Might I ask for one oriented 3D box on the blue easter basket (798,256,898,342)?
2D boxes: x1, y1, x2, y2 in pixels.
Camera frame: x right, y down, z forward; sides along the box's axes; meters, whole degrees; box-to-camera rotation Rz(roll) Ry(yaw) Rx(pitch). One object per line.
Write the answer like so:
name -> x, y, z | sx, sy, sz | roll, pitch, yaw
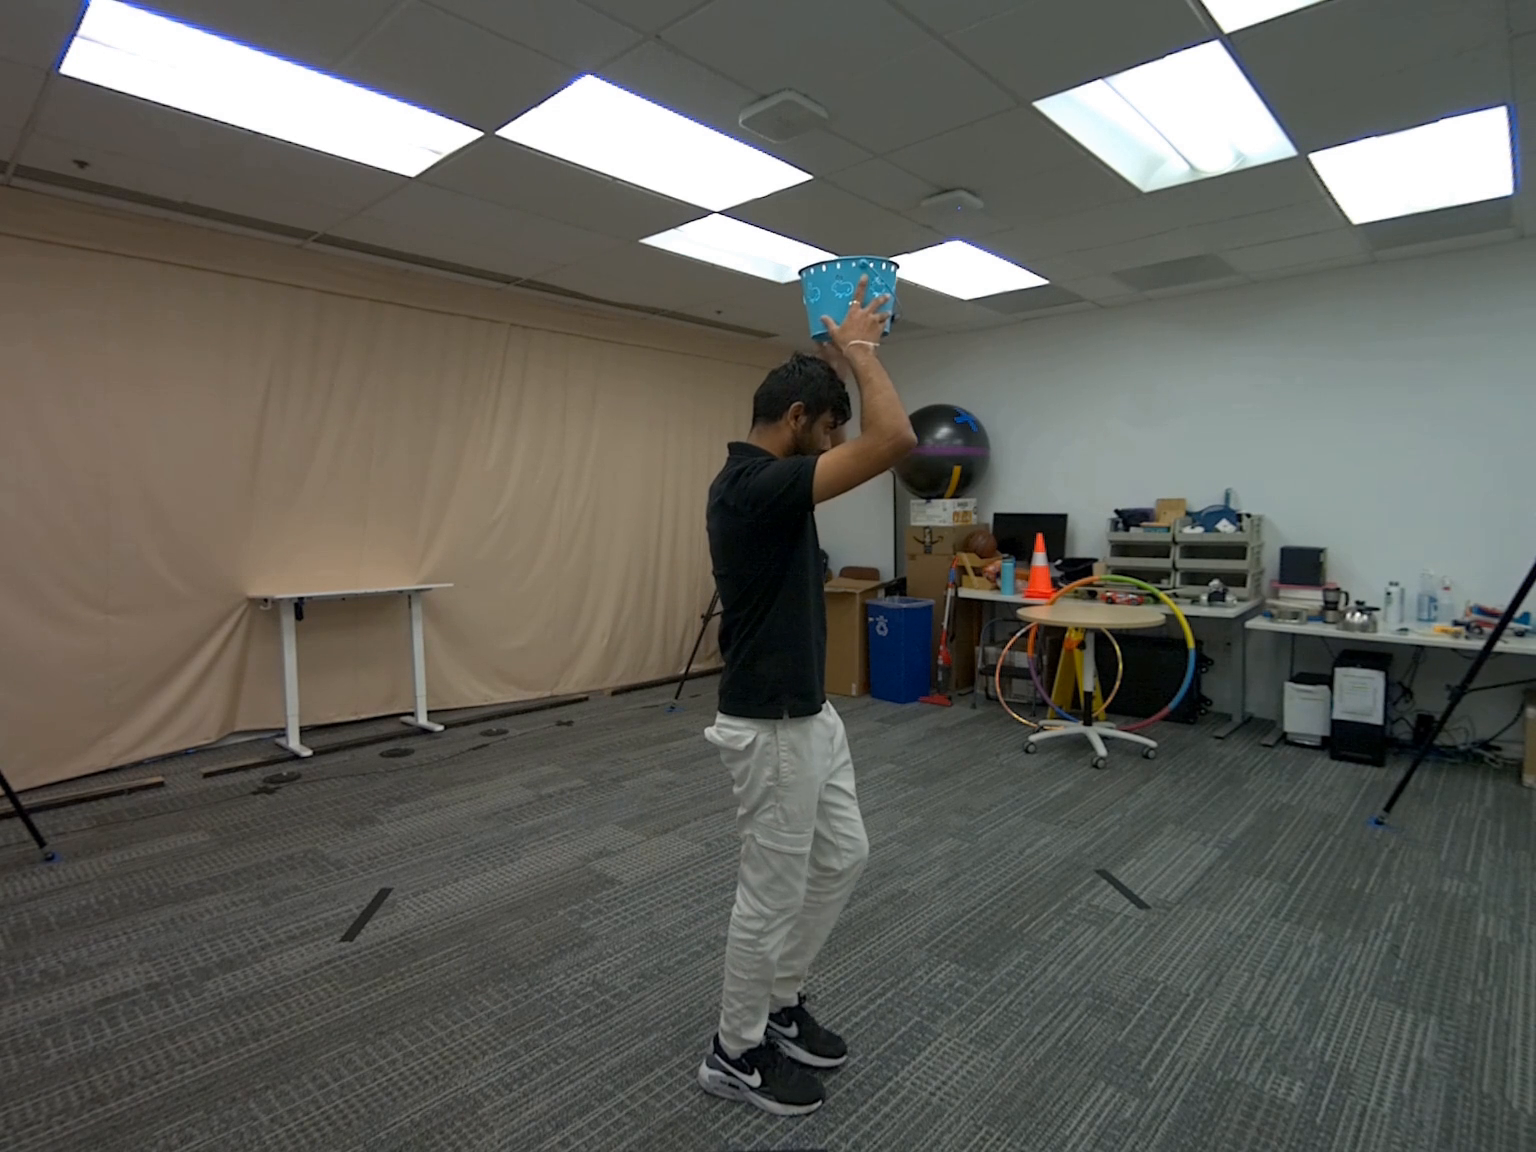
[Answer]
blue easter basket -> 0.200, -0.636, 1.938 | 0.243, 0.155, 0.245 | -1, 8, -2
